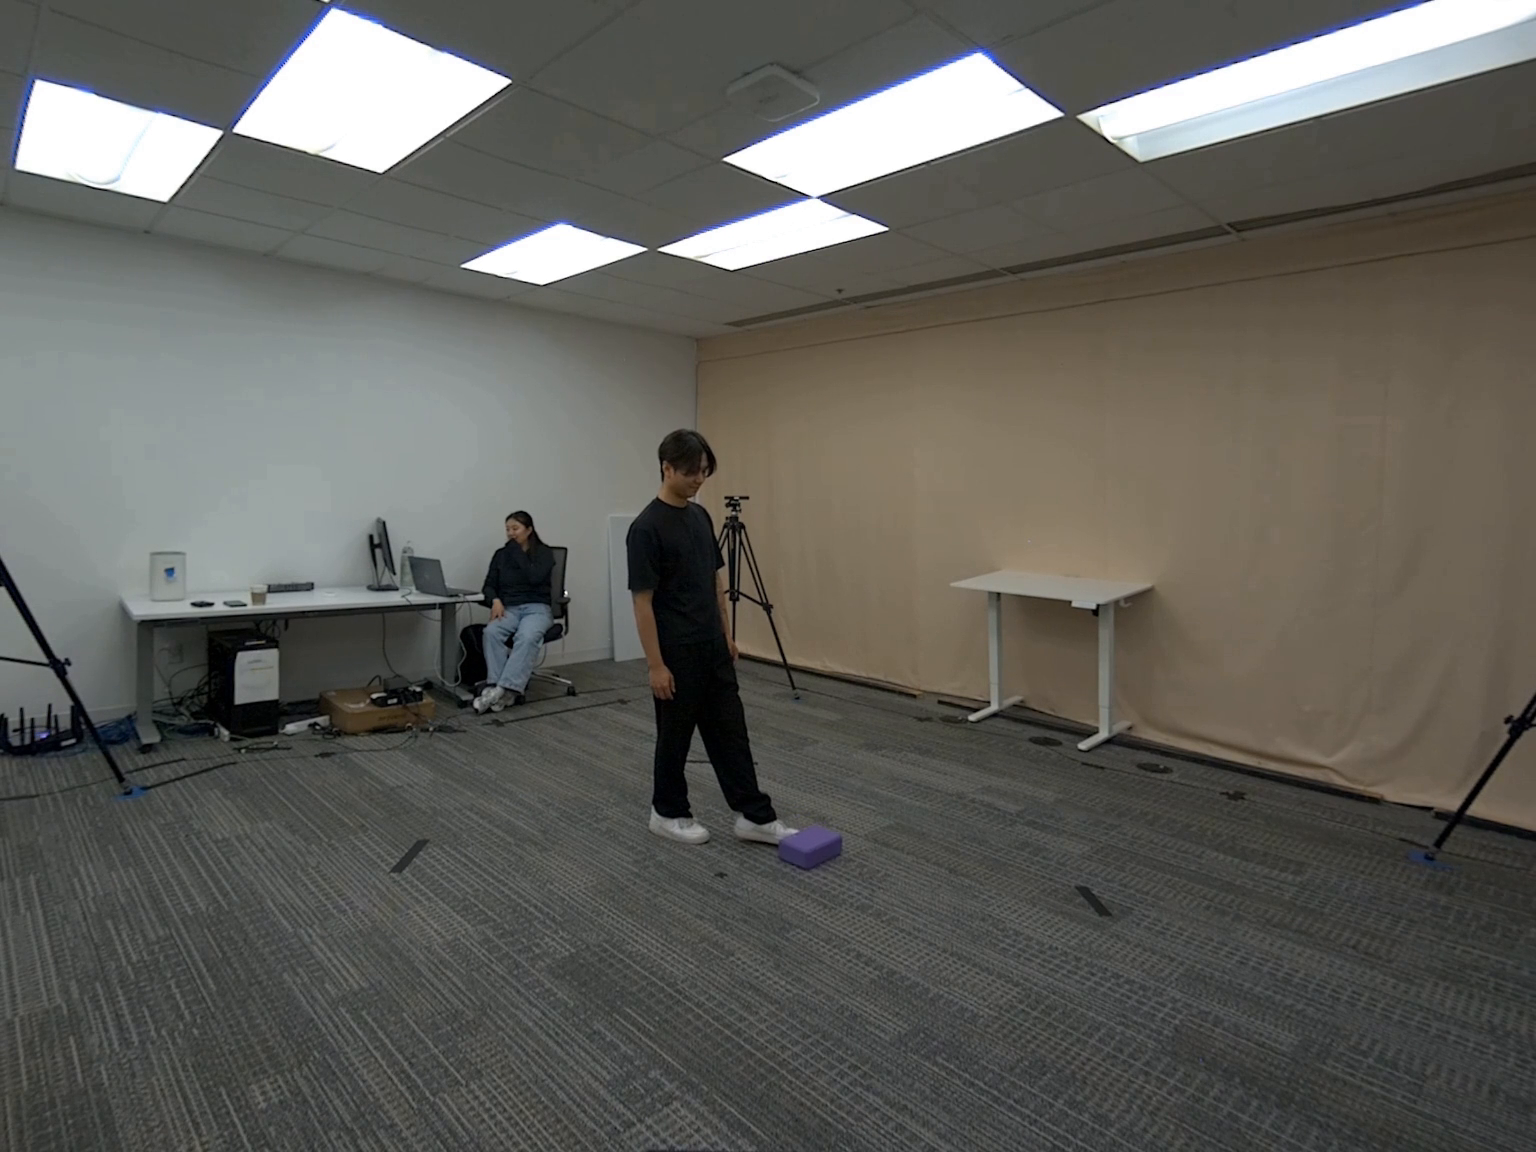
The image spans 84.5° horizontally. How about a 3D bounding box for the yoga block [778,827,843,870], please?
[{"bbox_3d":[0.156,1.052,3.280,0.153,0.076,0.224,8,8,41],"label":"yoga block"}]
